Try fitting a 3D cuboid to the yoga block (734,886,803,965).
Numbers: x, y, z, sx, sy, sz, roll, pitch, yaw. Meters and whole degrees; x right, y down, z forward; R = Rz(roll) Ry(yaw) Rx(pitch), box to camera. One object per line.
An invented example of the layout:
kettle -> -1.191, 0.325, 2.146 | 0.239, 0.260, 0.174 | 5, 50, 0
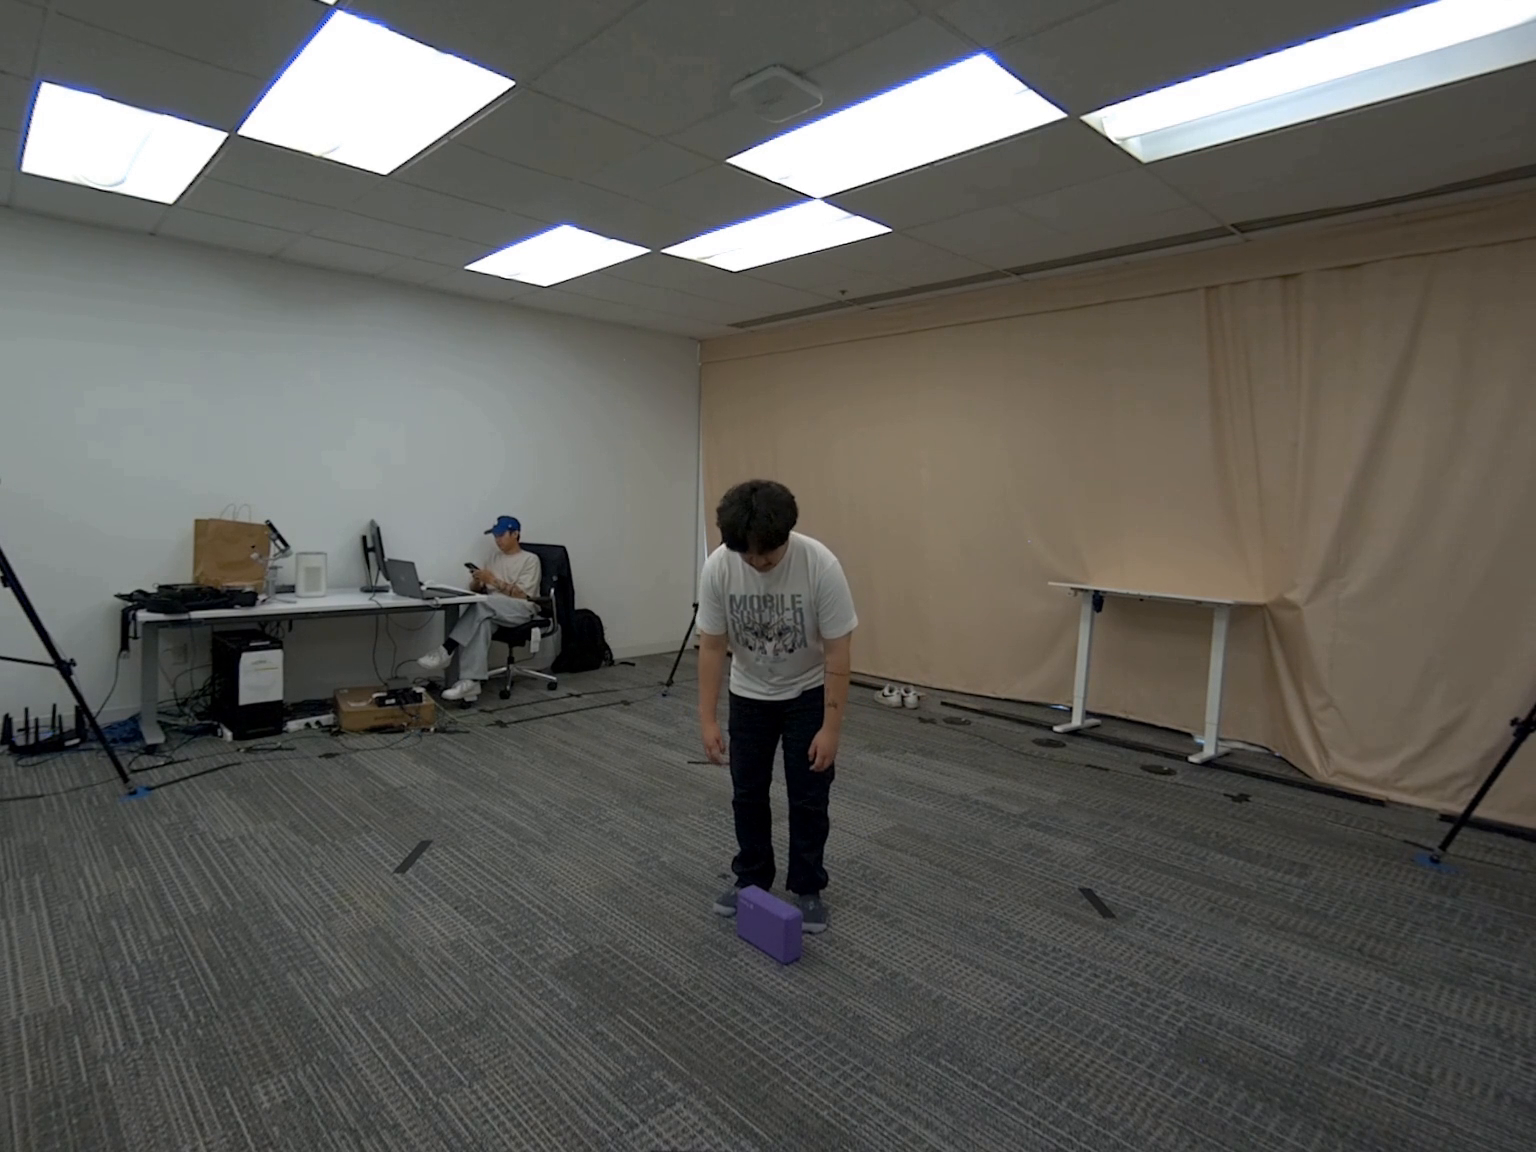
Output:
yoga block -> -0.008, 1.080, 2.615 | 0.075, 0.148, 0.235 | -1, 6, -41
